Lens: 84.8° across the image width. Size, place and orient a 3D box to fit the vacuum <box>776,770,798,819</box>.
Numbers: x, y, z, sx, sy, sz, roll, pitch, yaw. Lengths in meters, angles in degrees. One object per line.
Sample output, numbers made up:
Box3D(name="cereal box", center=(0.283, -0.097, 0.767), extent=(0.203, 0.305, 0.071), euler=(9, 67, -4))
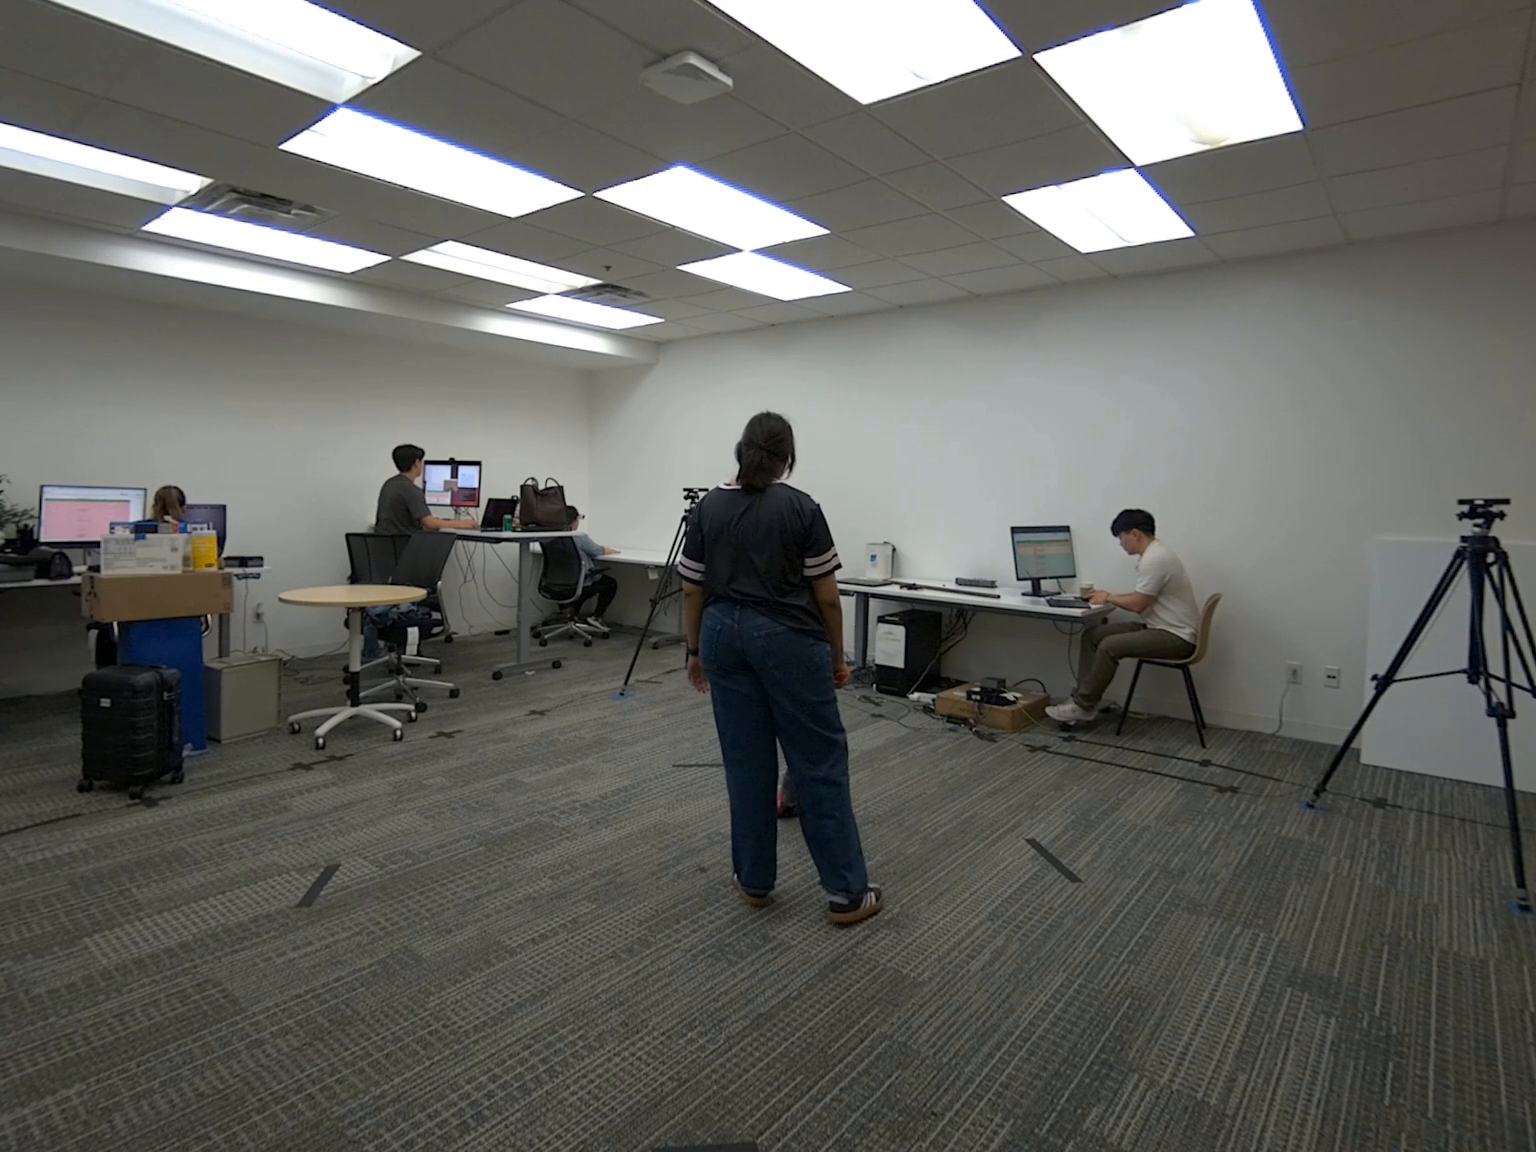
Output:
Box3D(name="vacuum", center=(0.146, 0.668, 3.299), extent=(0.249, 0.149, 1.028), euler=(-2, -38, -15))
